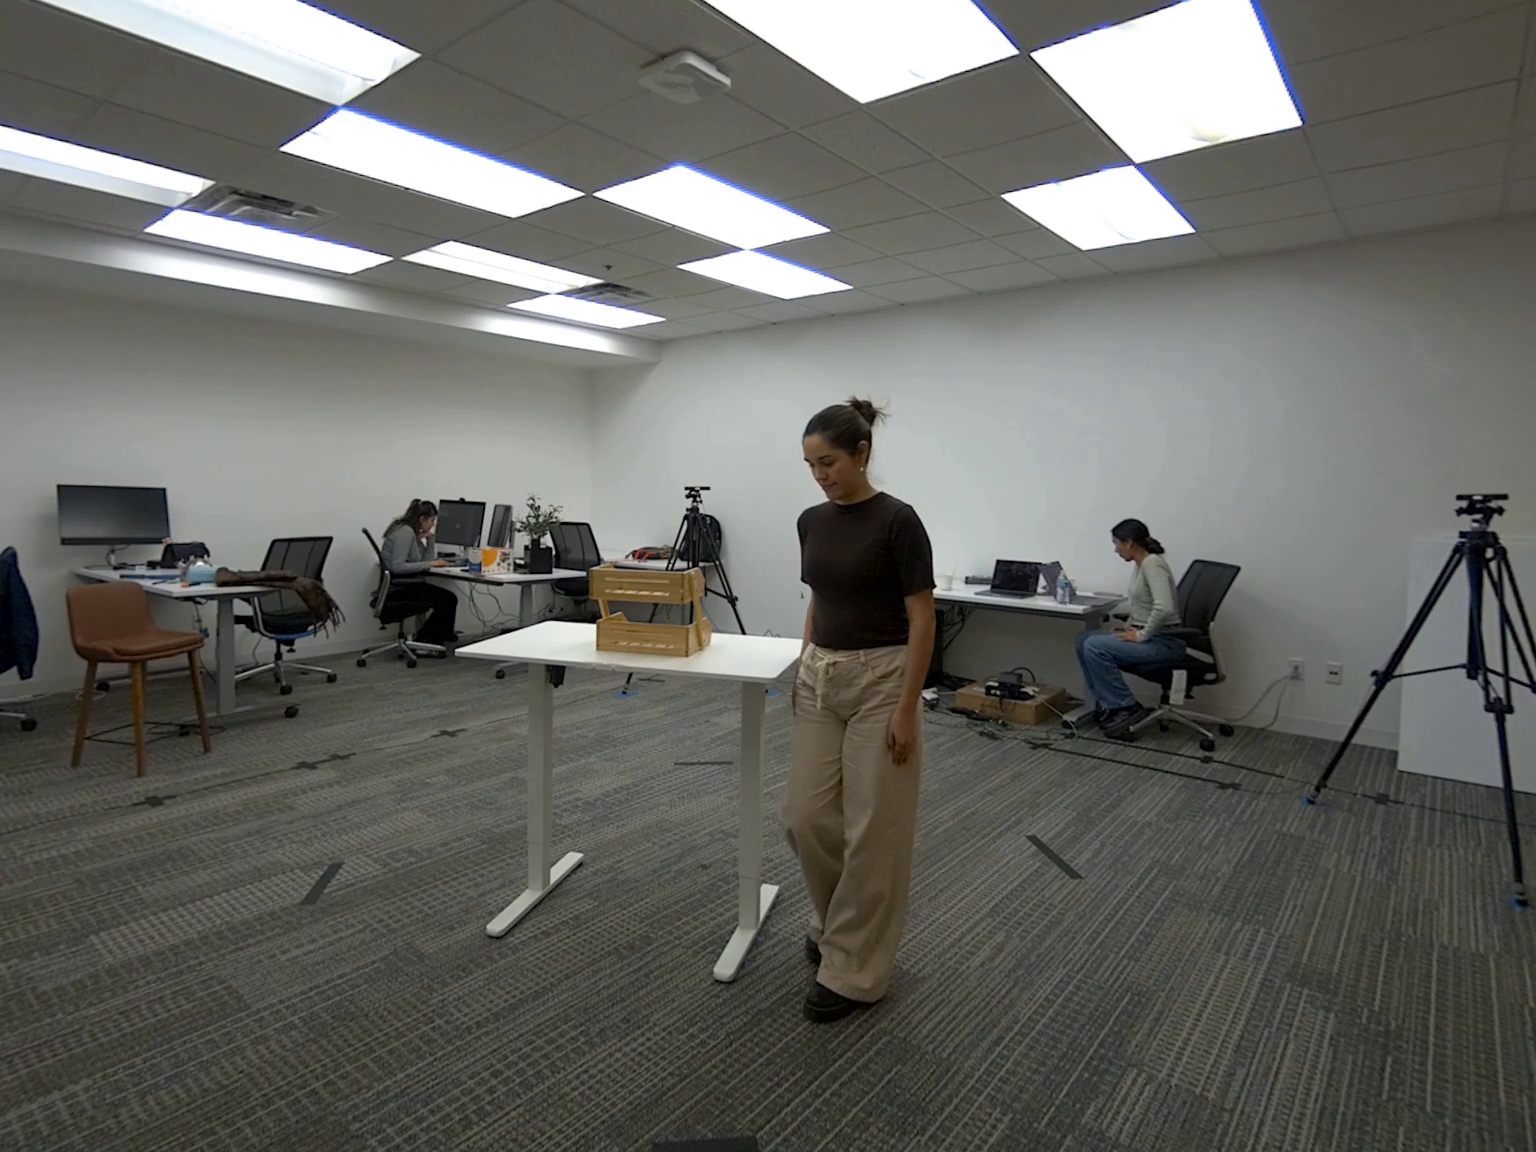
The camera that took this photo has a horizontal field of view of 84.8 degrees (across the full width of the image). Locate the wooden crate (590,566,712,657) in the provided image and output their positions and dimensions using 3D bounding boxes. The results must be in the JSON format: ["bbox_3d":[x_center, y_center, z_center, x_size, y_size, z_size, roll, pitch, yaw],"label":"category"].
[{"bbox_3d":[-0.371,0.093,2.673,0.330,0.272,0.299,2,6,14],"label":"wooden crate"}]
